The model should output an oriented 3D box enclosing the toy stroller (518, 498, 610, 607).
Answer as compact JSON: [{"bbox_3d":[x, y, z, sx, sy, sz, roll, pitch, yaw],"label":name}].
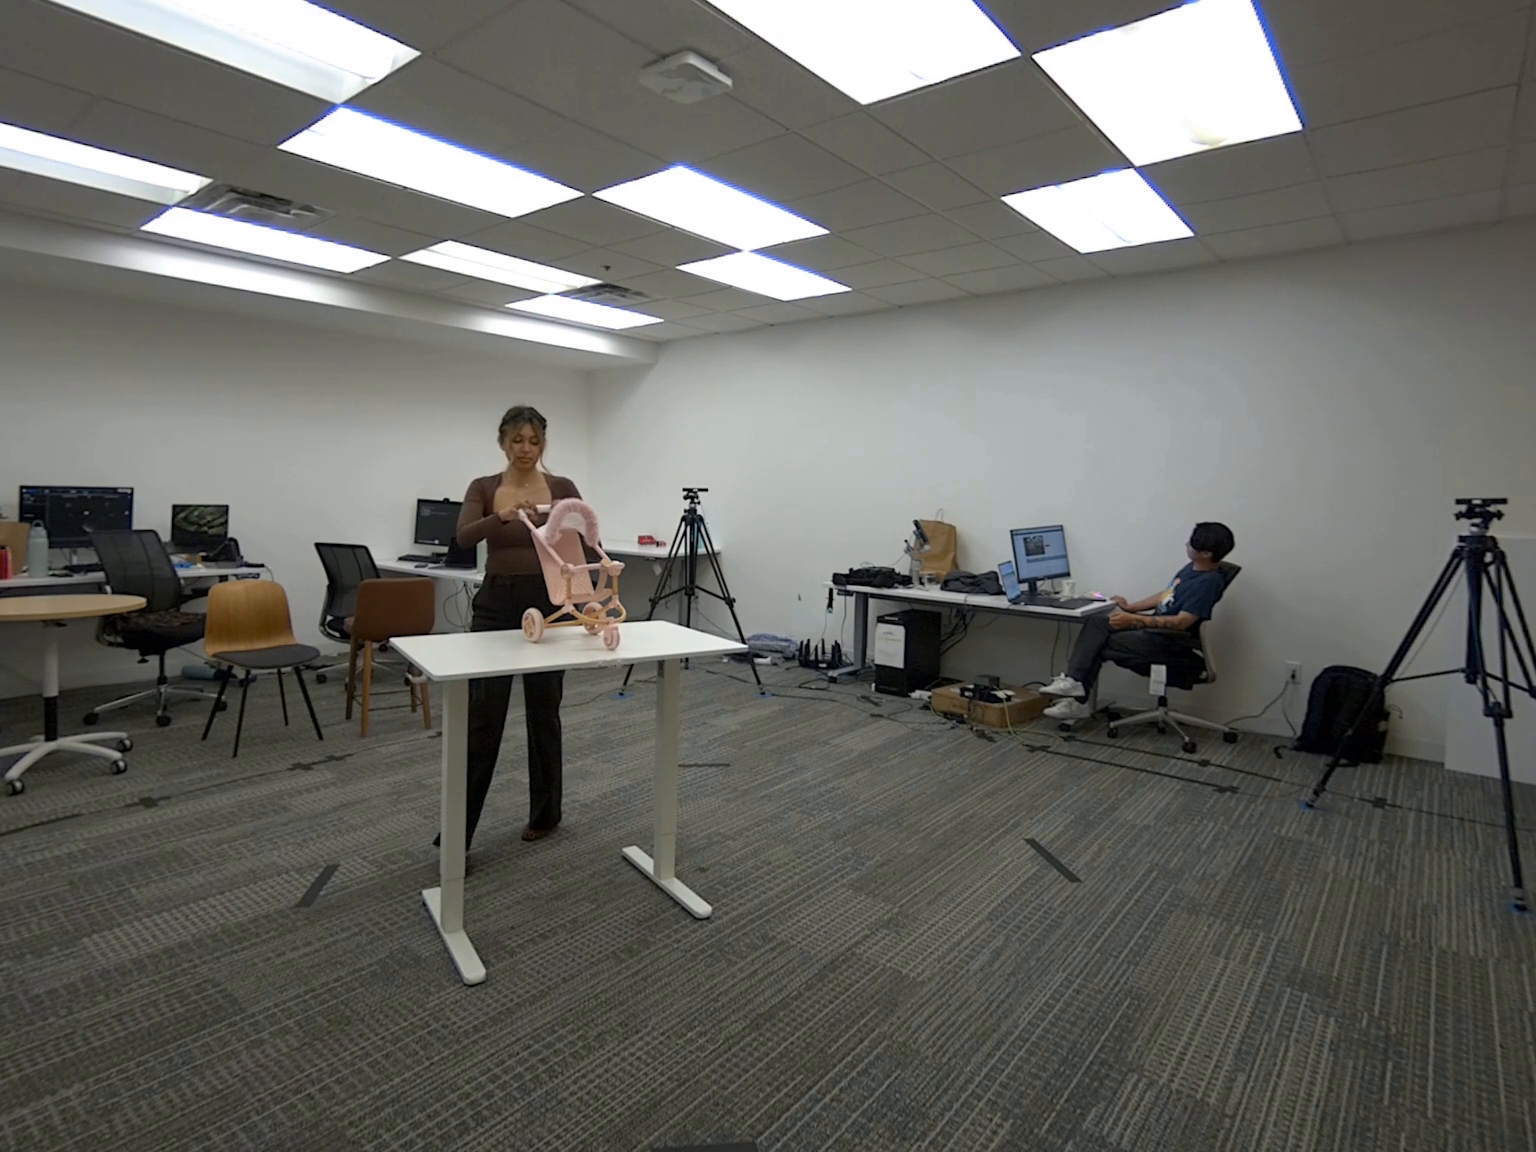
[{"bbox_3d":[-0.640,-0.012,2.777,0.273,0.540,0.349,-2,-10,-44],"label":"toy stroller"}]
